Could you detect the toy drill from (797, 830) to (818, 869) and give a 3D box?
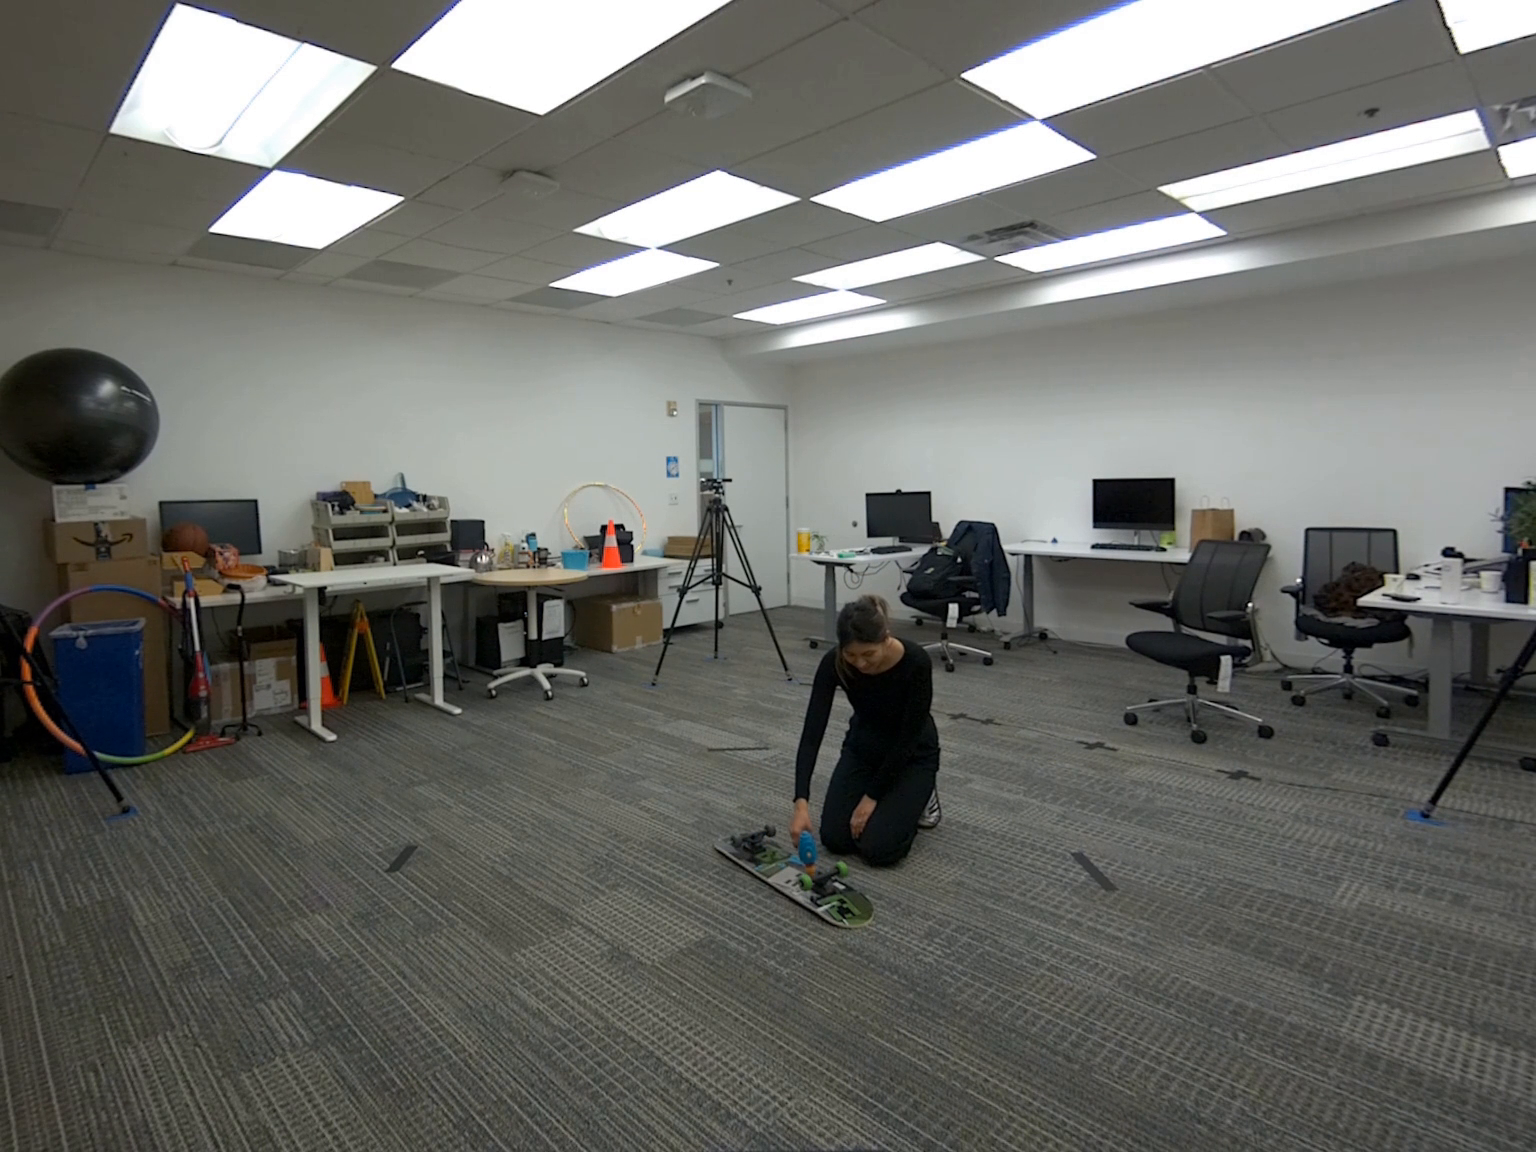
[{"bbox_3d":[0.130,0.922,2.869,0.061,0.169,0.147,-5,5,-2],"label":"toy drill"}]
